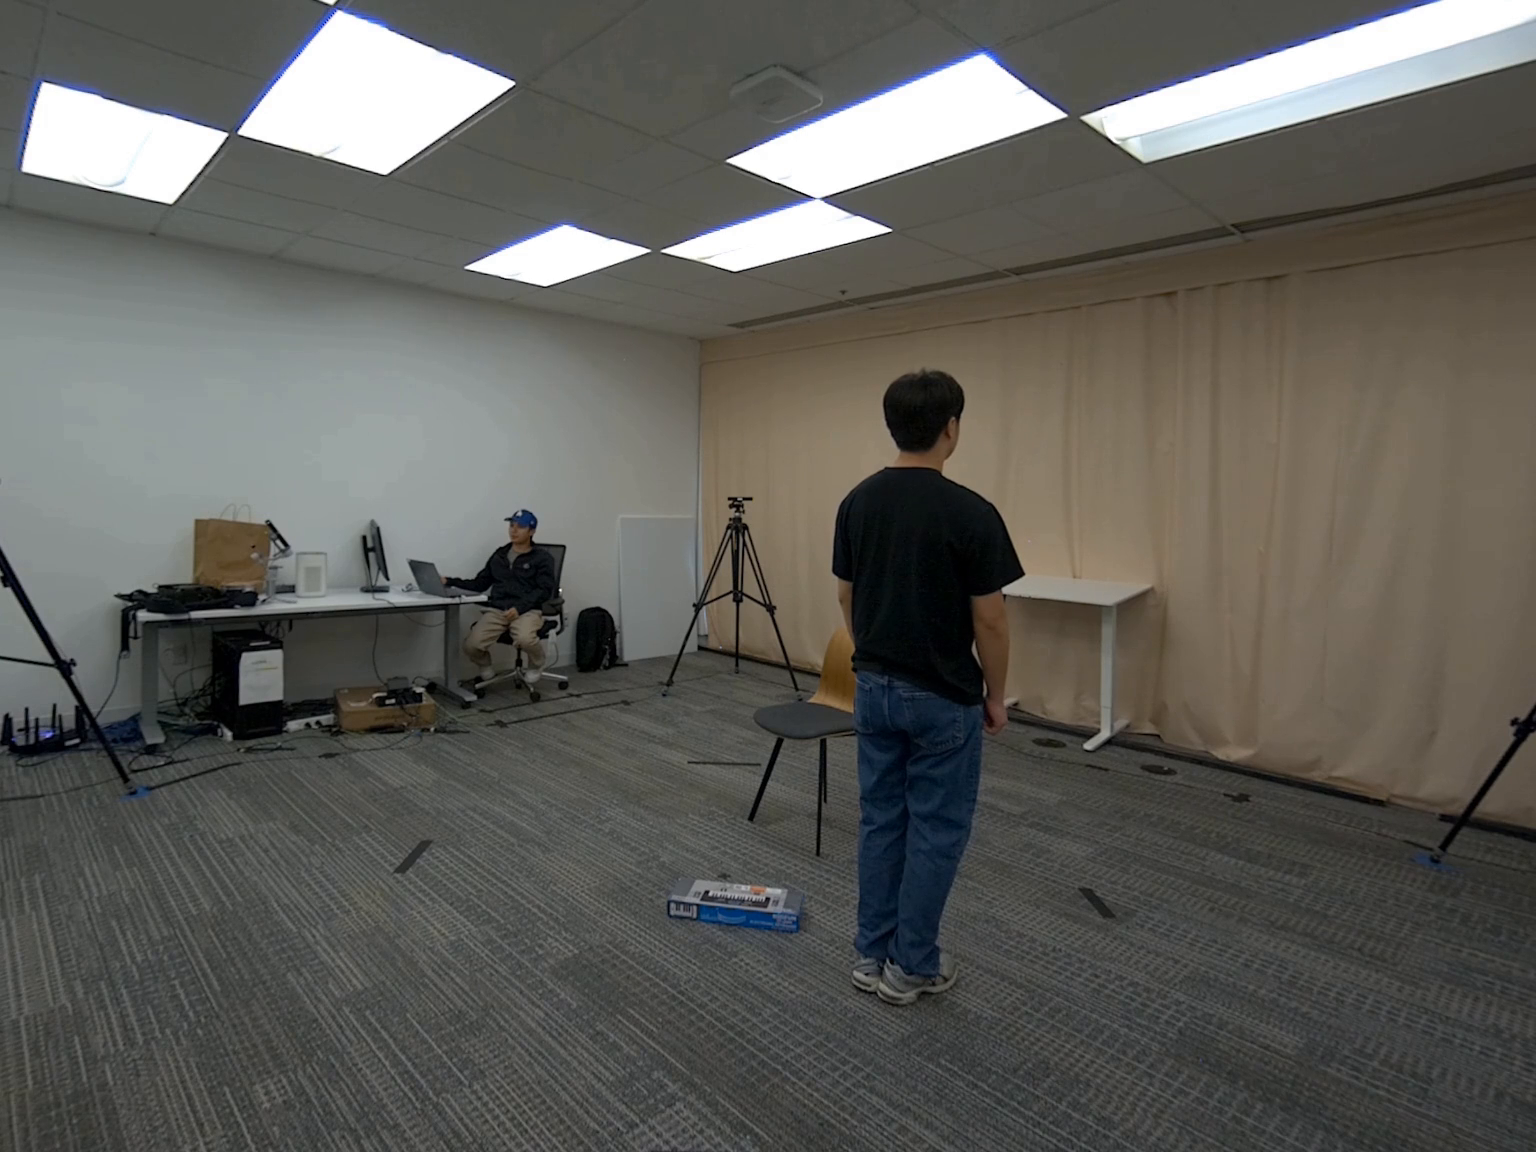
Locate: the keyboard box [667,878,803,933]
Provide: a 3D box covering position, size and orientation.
[{"bbox_3d":[-0.111,1.105,2.826,0.441,0.059,0.175,2,5,11],"label":"keyboard box"}]
